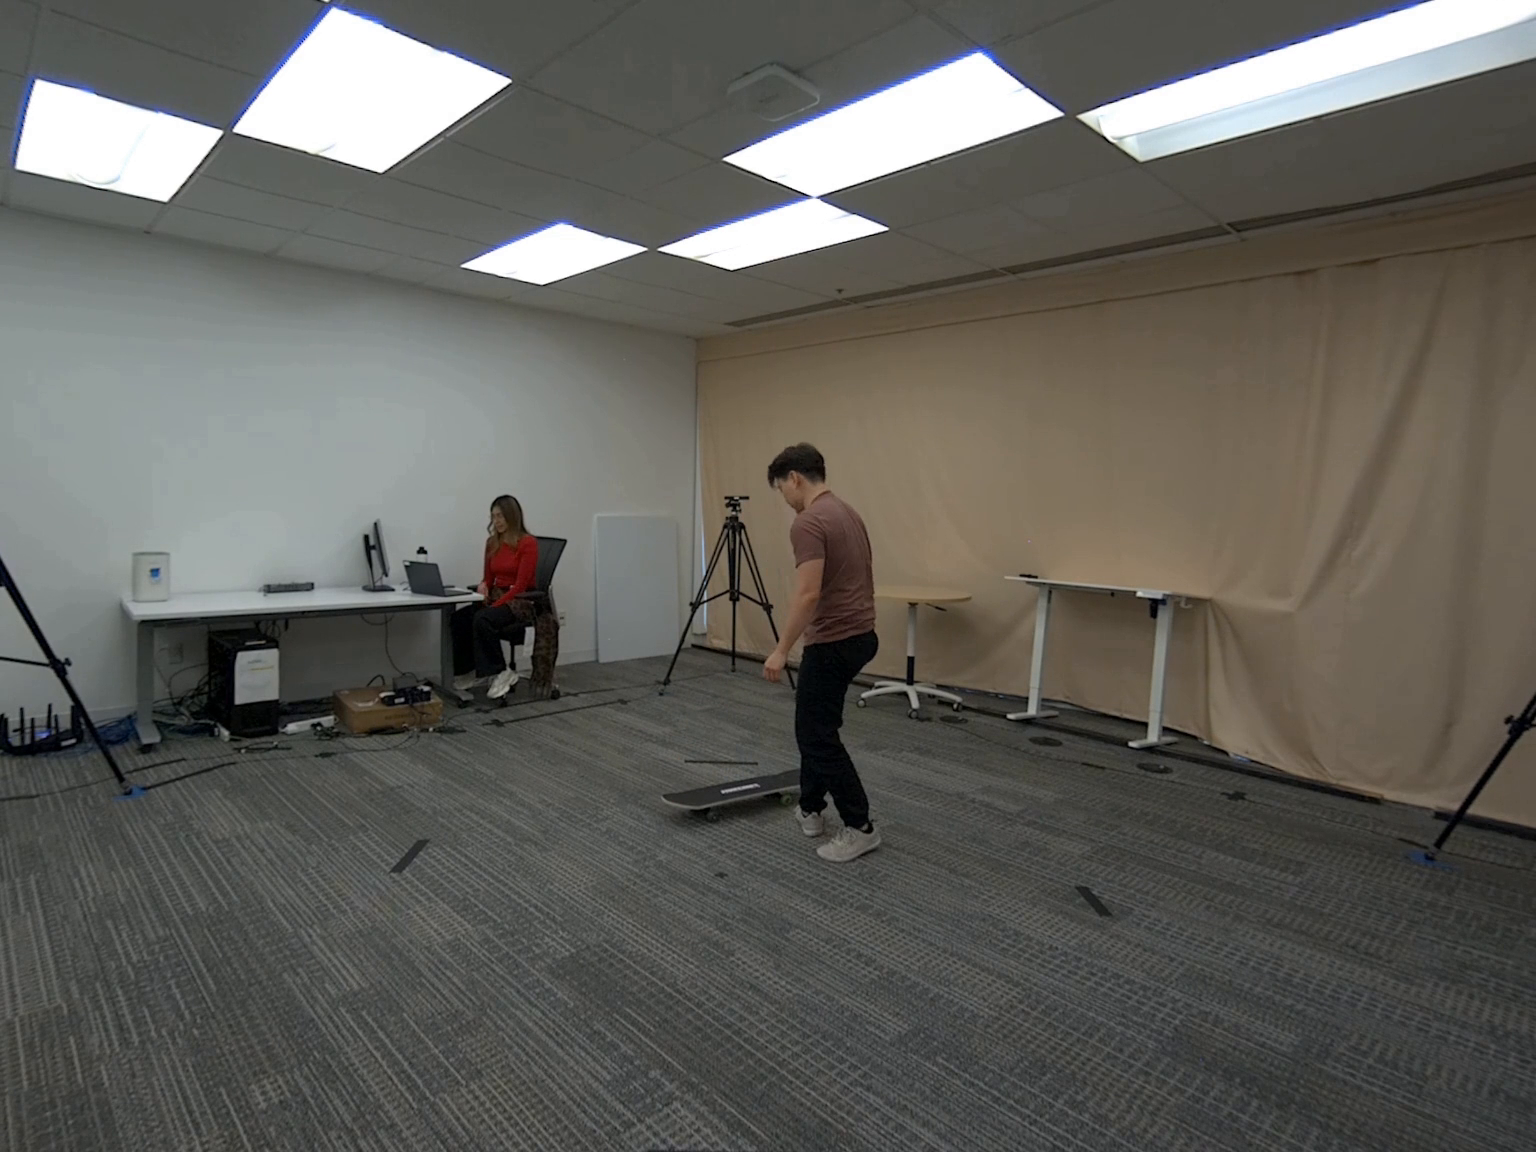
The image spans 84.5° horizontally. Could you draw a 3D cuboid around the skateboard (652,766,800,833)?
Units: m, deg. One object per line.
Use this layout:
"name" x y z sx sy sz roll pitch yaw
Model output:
"skateboard" -0.124 0.985 3.787 0.768 0.110 0.198 -2 4 -34
